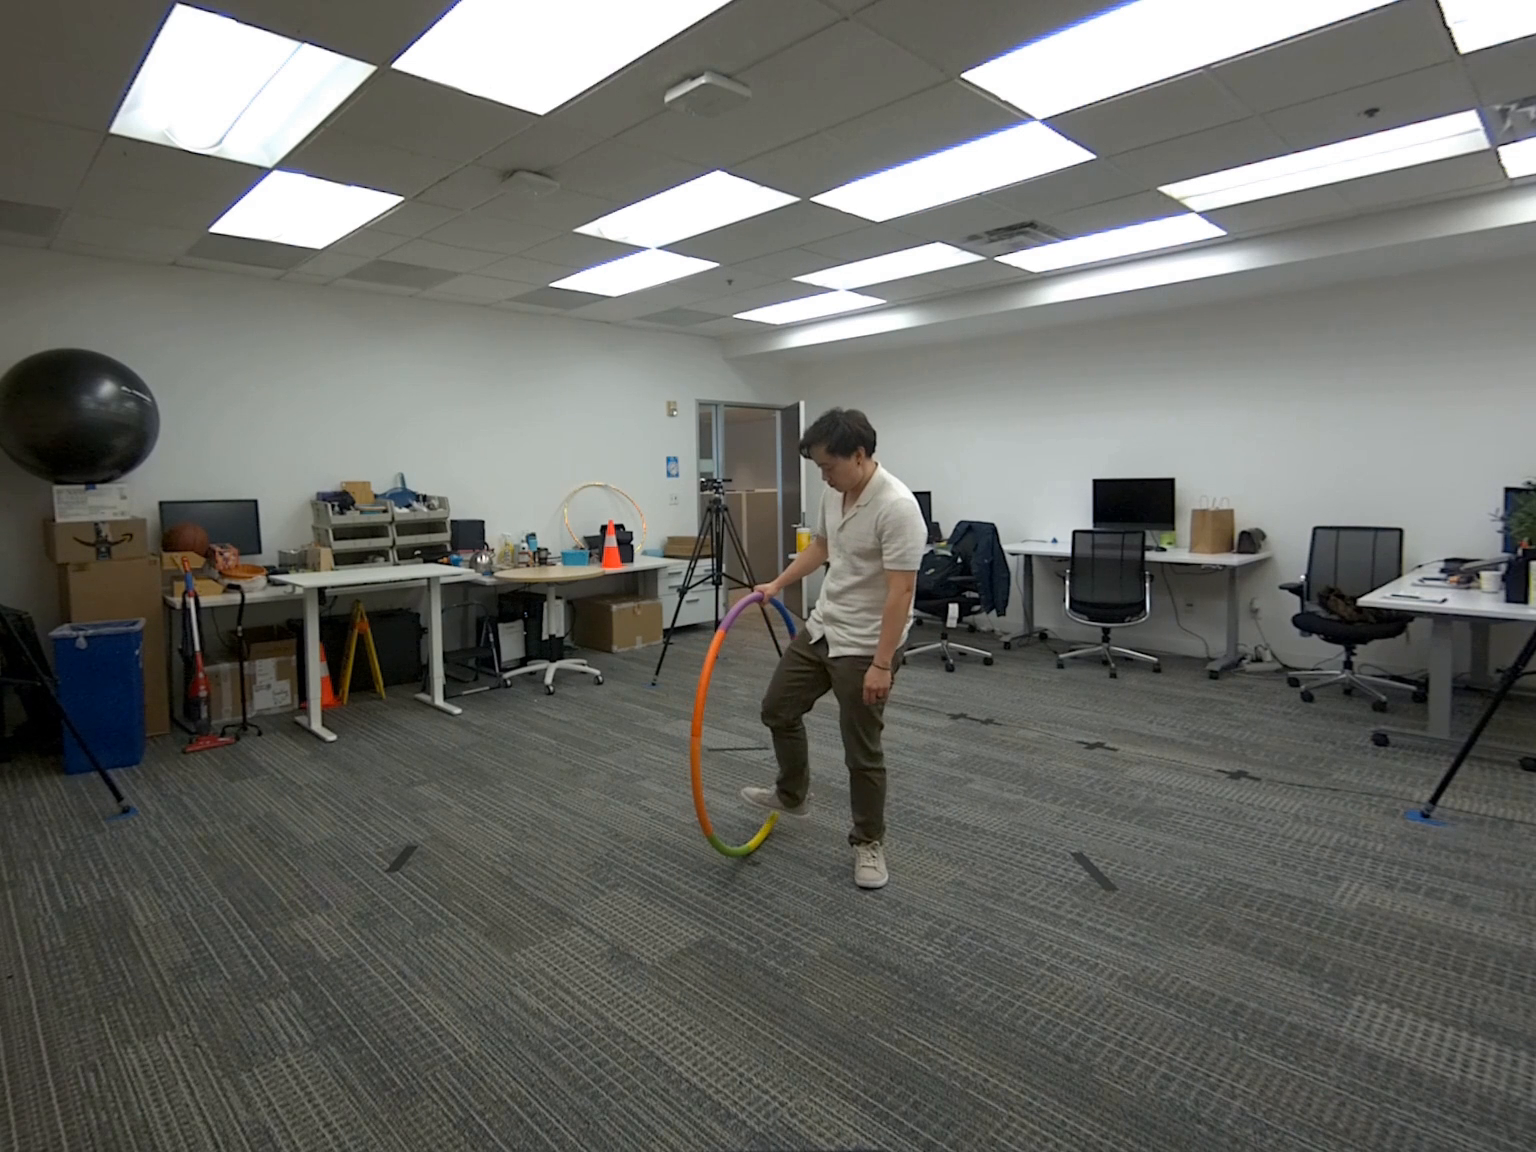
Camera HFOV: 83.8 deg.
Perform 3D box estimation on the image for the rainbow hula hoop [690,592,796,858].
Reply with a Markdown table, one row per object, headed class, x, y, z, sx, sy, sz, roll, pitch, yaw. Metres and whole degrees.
| class | x | y | z | sx | sy | sz | roll | pitch | yaw |
| --- | --- | --- | --- | --- | --- | --- | --- | --- | --- |
| rainbow hula hoop | -0.053 | 0.549 | 3.216 | 0.036 | 0.975 | 0.961 | 1 | 5 | 22 |
